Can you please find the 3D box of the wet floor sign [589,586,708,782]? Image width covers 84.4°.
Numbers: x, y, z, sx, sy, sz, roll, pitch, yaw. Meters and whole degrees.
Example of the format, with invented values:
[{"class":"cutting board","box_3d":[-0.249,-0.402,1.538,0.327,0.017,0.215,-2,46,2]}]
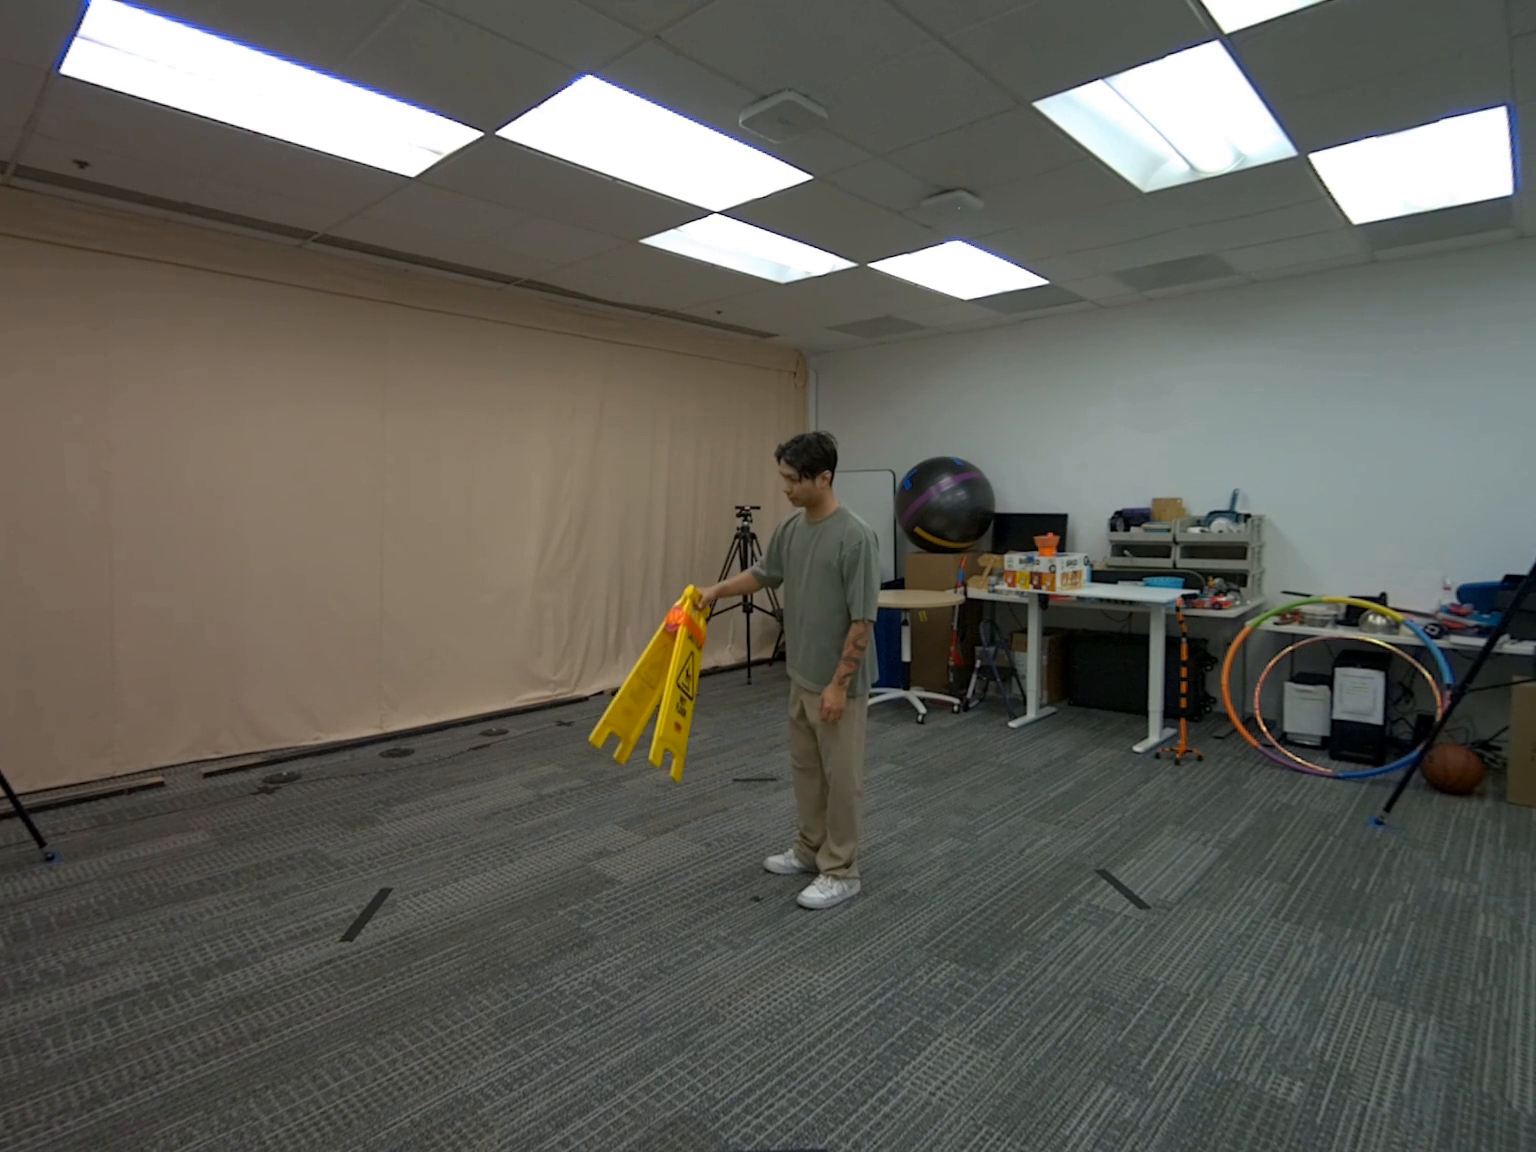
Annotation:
[{"class":"wet floor sign","box_3d":[-0.347,0.356,3.009,0.297,0.649,0.274,10,-24,23]}]
